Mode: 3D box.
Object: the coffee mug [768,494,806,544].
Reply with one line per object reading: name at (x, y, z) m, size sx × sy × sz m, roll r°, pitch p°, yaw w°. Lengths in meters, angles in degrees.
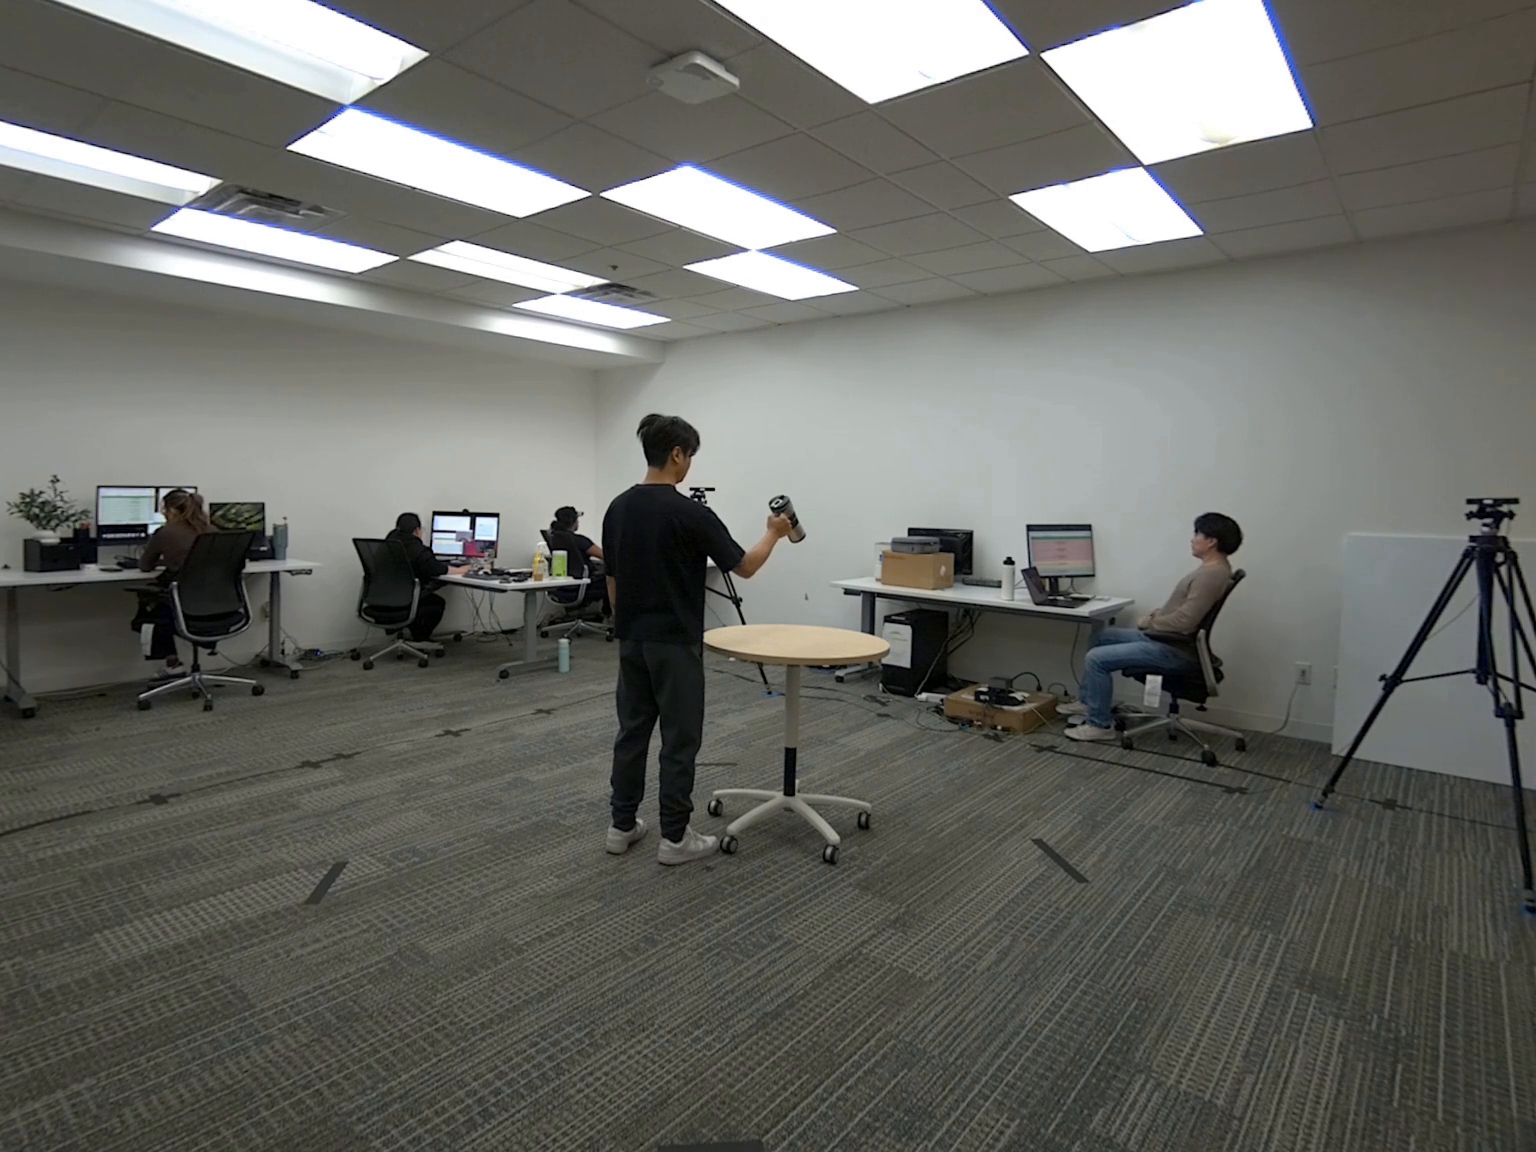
coffee mug at (0.054, -0.220, 3.438) m, size 0.122 × 0.196 × 0.091 m, roll -30°, pitch 32°, yaw -5°
